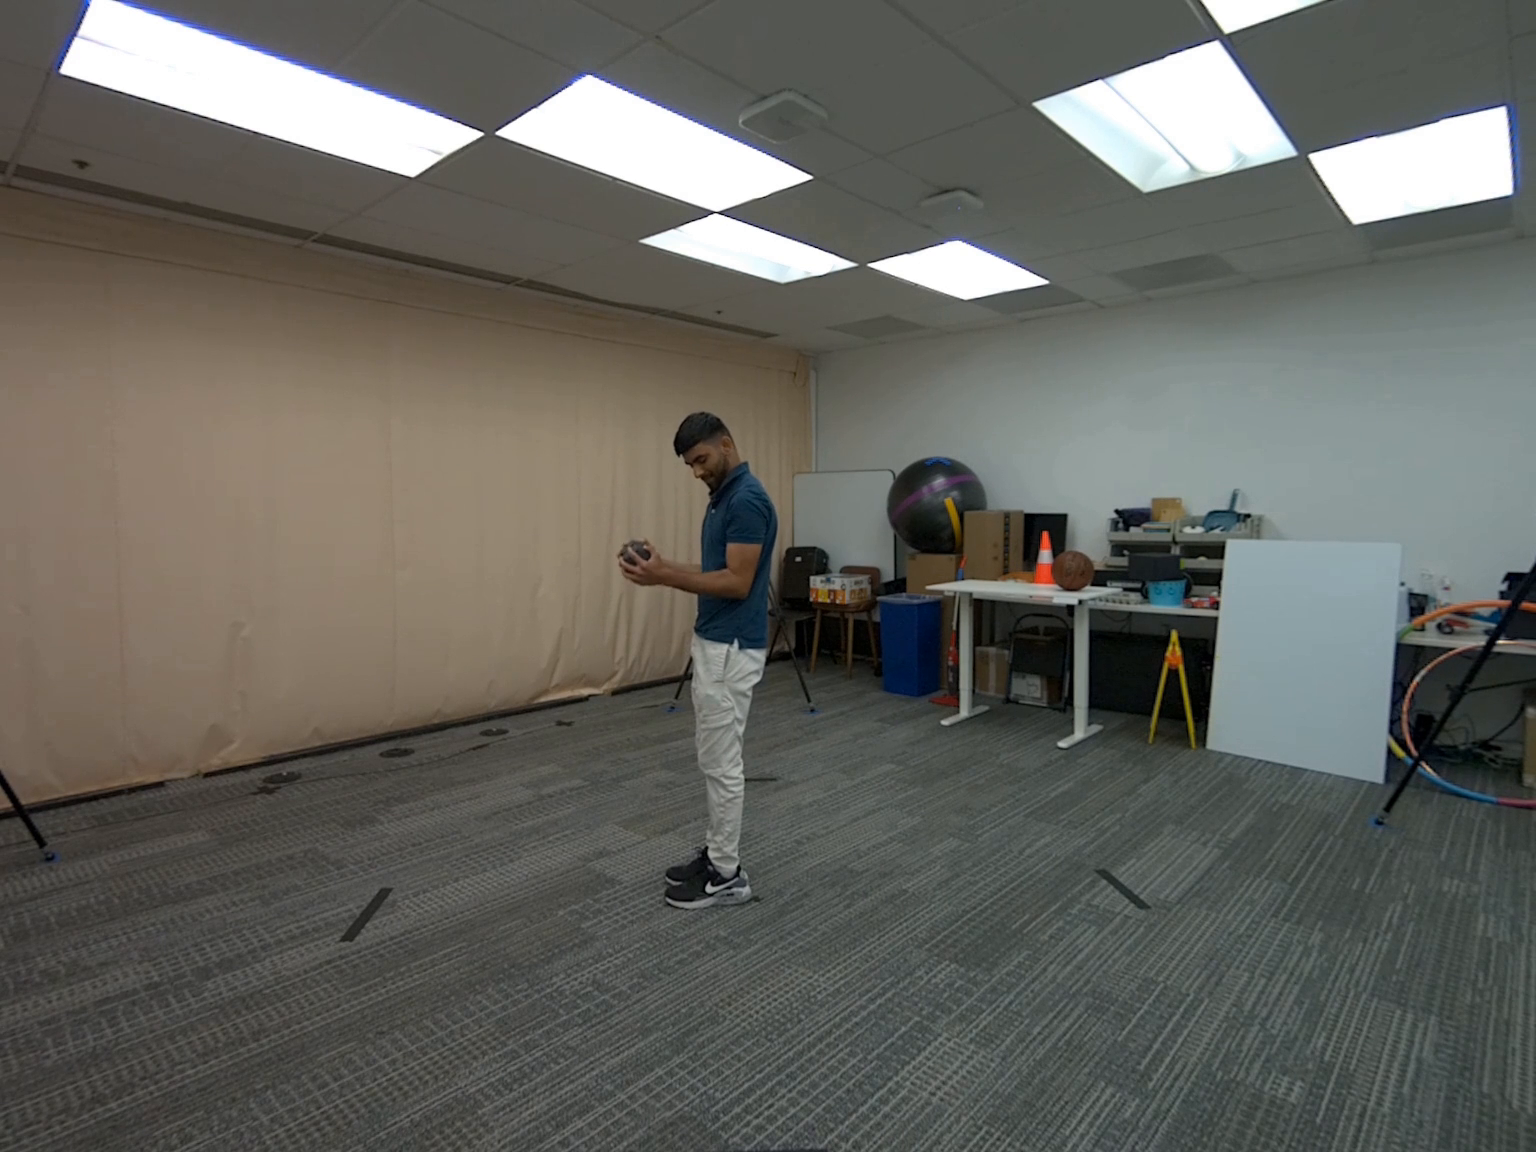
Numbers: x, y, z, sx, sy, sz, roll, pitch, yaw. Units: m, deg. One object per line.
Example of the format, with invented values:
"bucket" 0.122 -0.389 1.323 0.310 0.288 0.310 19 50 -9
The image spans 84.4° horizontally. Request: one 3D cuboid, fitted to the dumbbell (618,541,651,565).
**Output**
"dumbbell" -0.427 -0.059 2.977 0.108 0.123 0.294 41 4 -5
